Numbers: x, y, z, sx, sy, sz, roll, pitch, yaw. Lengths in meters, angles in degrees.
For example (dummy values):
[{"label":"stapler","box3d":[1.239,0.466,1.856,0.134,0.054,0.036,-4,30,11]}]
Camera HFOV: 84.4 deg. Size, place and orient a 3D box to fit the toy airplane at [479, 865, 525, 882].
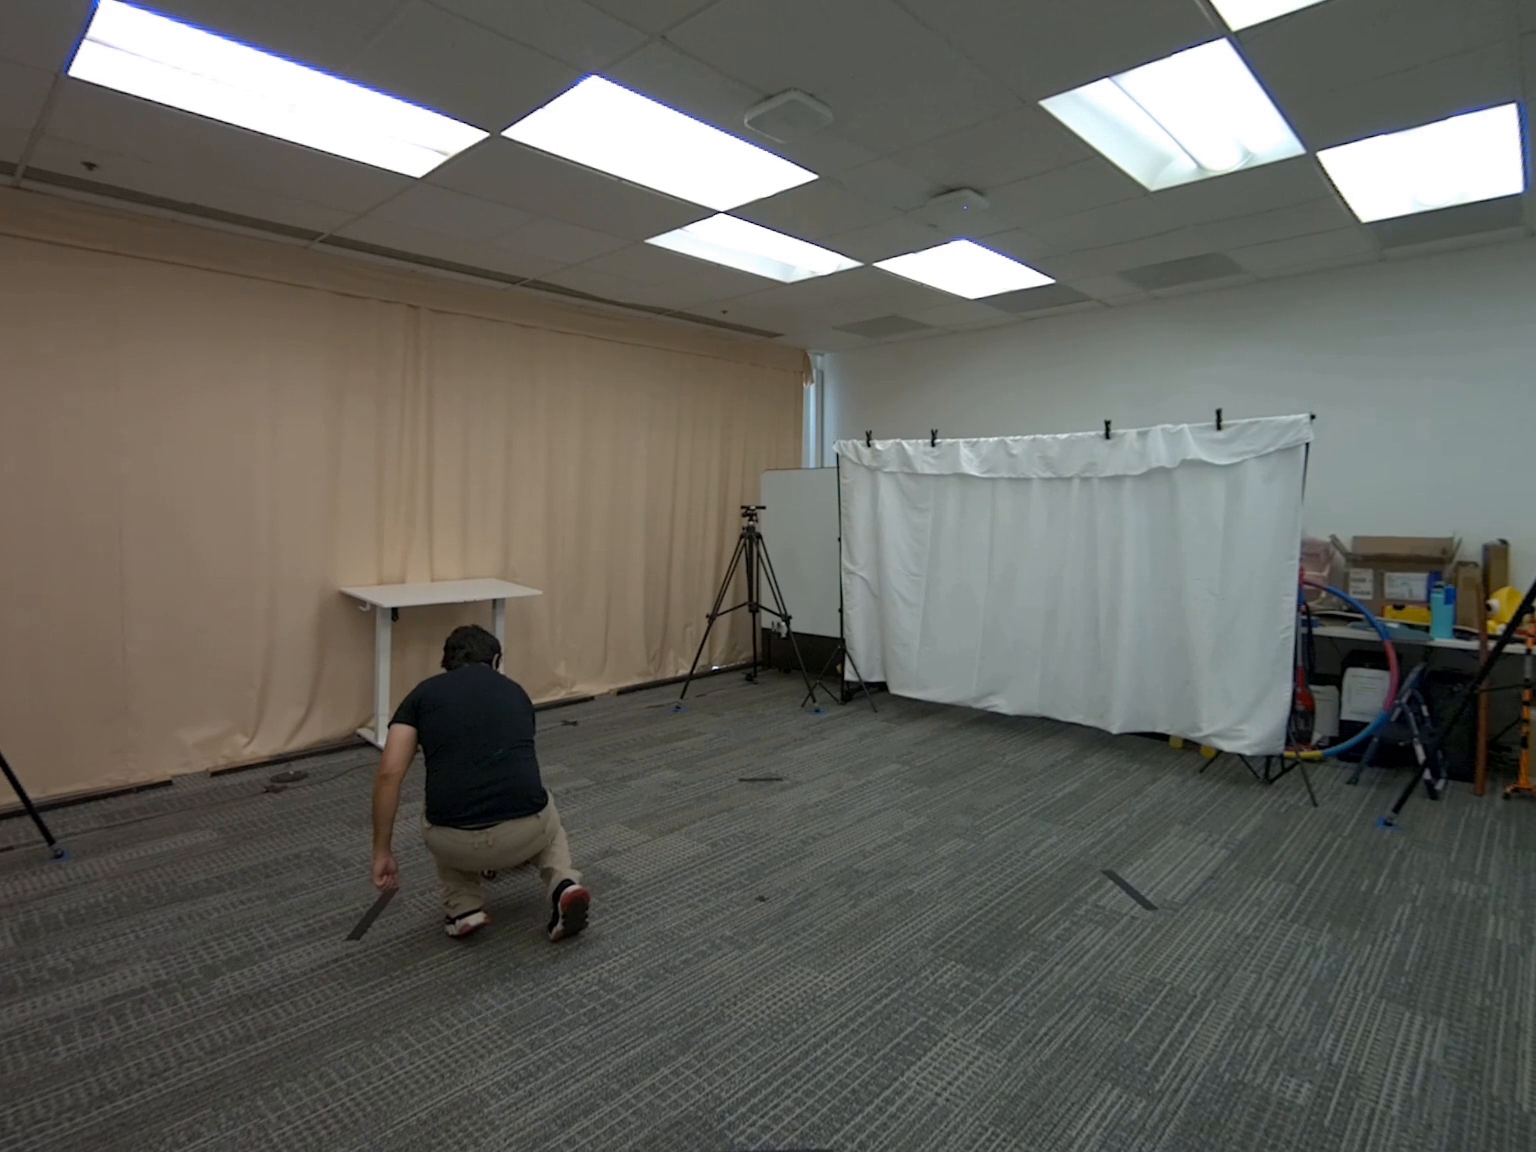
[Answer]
[{"label":"toy airplane","box3d":[-0.996,1.061,3.242,0.252,0.156,0.259,0,3,2]}]
